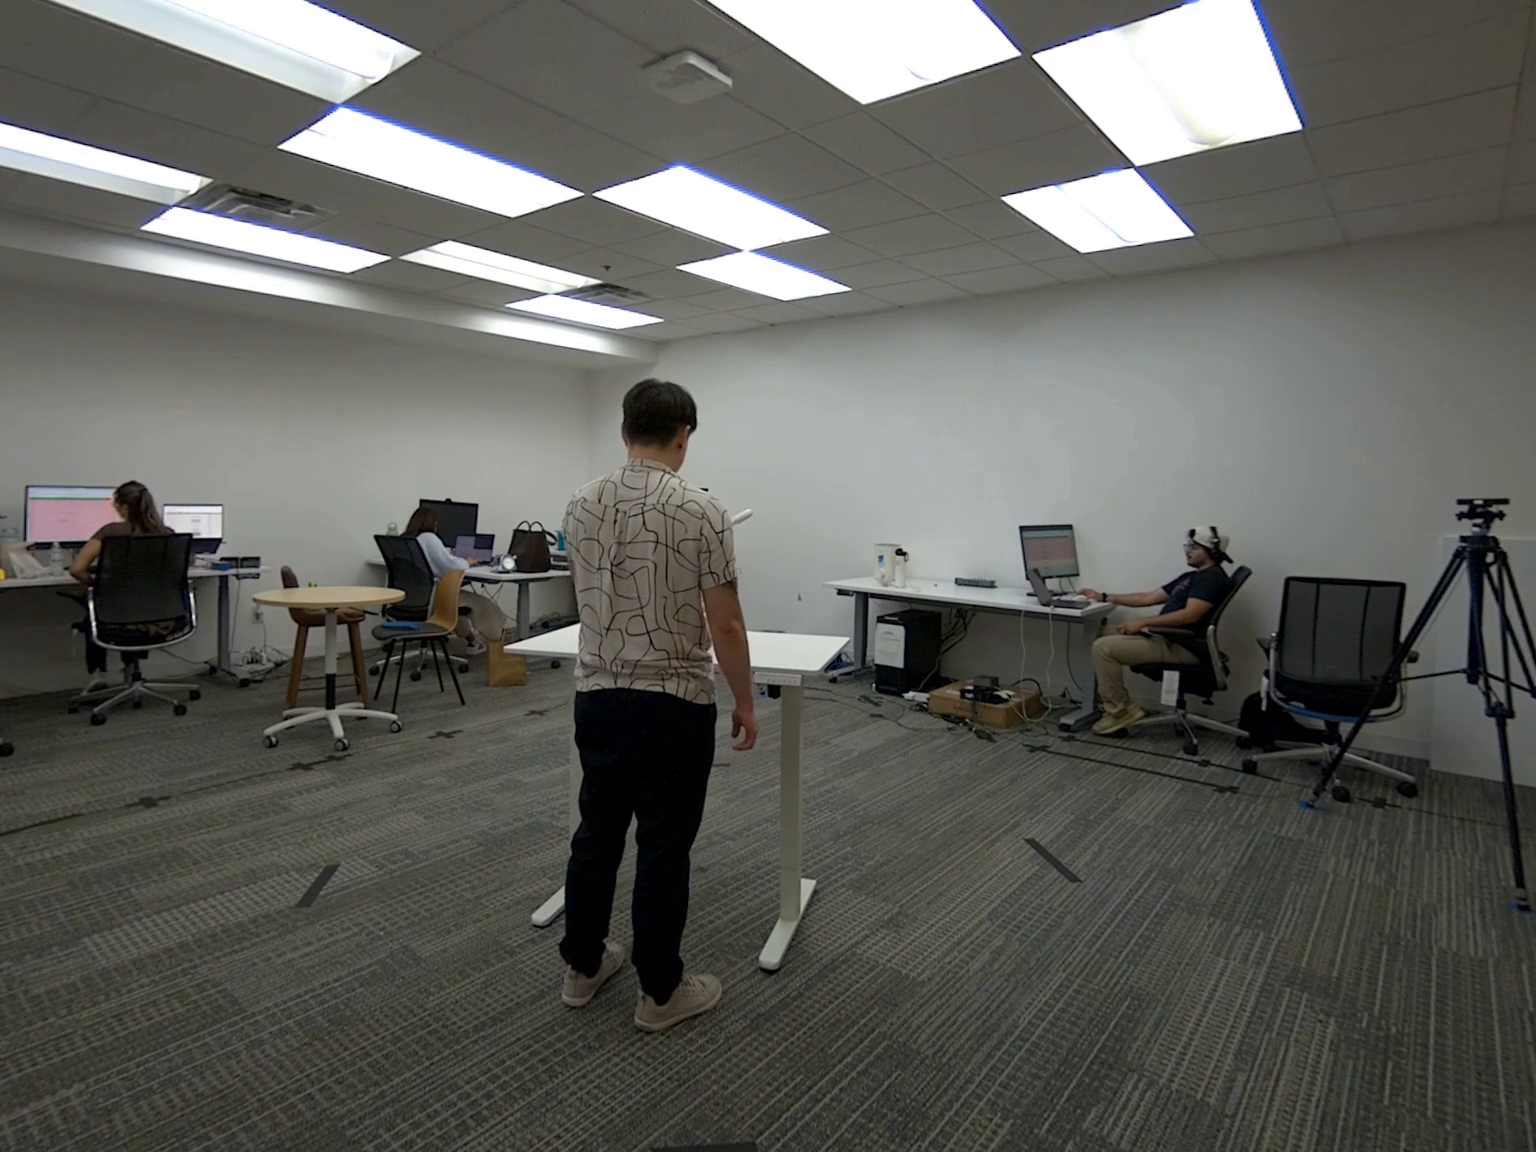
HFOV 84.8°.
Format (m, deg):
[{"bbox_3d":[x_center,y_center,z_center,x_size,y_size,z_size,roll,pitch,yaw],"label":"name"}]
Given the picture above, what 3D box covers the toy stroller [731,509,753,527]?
[{"bbox_3d":[-0.299,-0.017,2.848,0.342,0.534,0.281,16,3,1],"label":"toy stroller"}]
